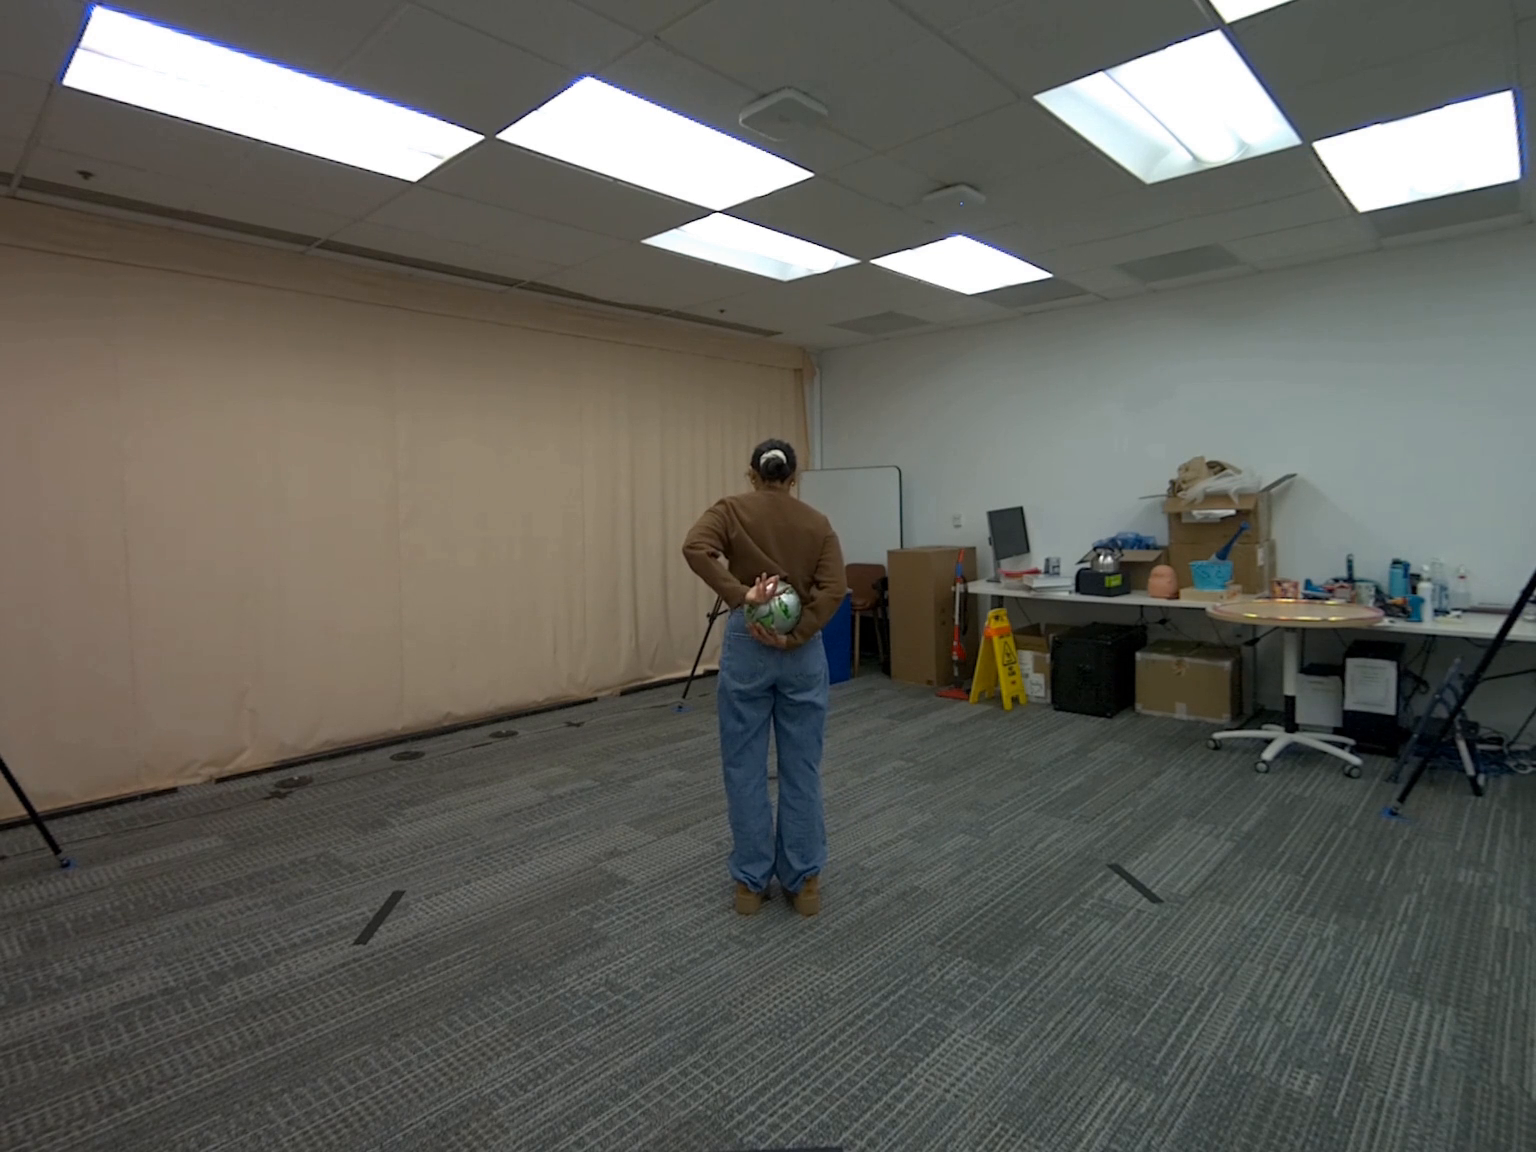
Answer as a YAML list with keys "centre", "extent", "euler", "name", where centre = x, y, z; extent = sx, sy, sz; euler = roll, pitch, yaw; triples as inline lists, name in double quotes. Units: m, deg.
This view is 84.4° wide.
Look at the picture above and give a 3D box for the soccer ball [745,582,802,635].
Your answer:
- centre: [0.009, 0.105, 2.764]
  extent: [0.187, 0.187, 0.188]
  euler: [-1, 4, -2]
  name: "soccer ball"
